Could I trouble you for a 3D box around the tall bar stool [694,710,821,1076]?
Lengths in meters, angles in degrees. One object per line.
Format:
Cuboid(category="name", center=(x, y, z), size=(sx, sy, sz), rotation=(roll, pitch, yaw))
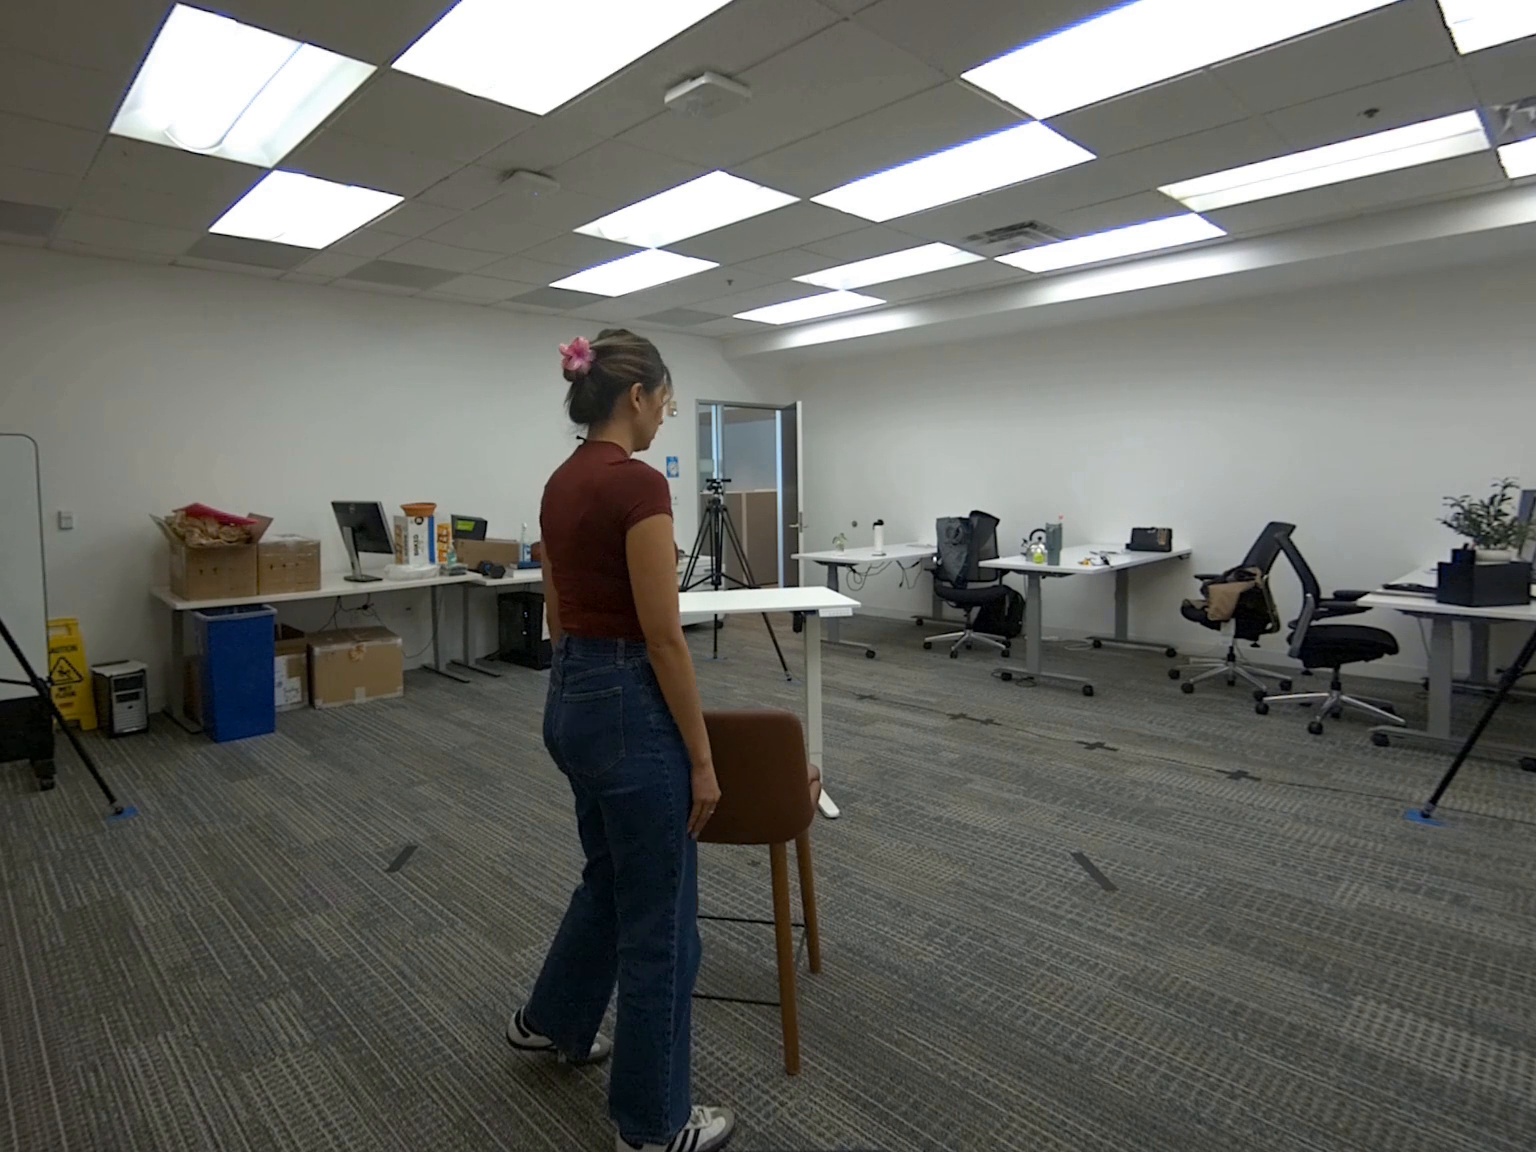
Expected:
Cuboid(category="tall bar stool", center=(-0.088, 0.716, 2.222), size=(0.461, 0.885, 0.465), rotation=(-1, 6, 10))
